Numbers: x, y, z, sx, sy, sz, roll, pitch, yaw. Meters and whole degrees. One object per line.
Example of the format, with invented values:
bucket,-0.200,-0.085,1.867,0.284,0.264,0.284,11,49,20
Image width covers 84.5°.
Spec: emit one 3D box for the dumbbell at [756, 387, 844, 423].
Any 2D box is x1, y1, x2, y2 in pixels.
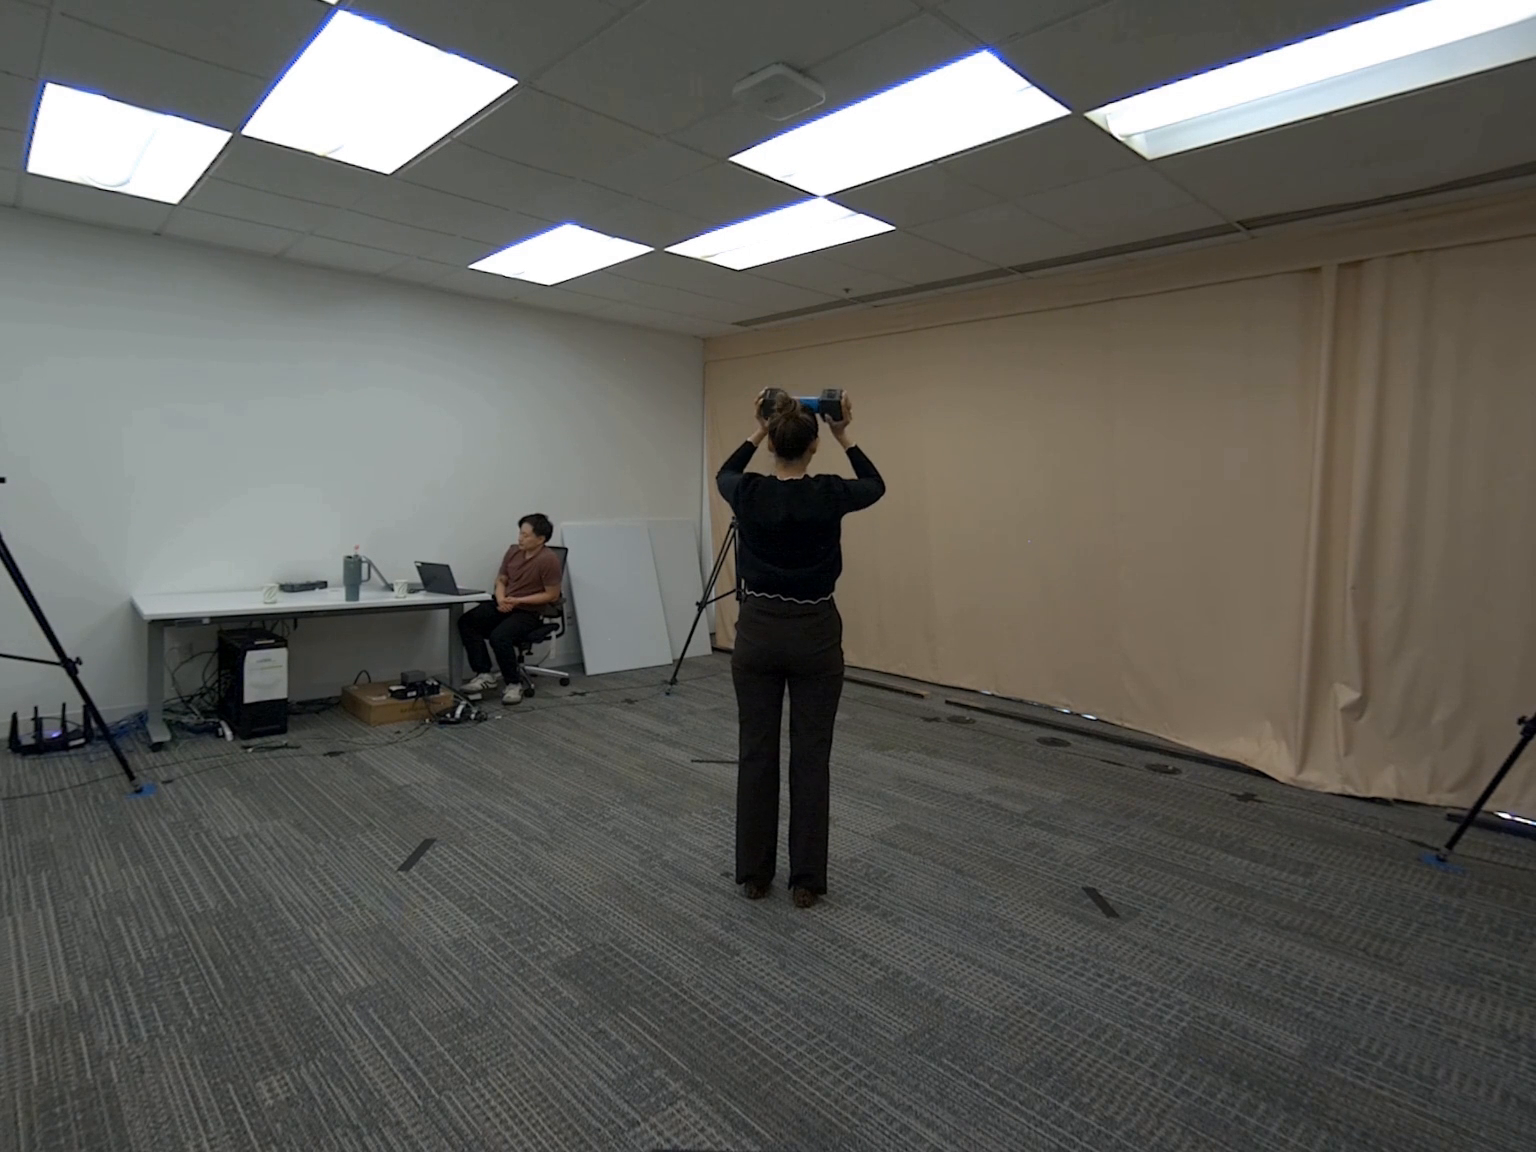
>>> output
dumbbell,0.142,-0.606,2.982,0.296,0.109,0.121,3,-9,9
